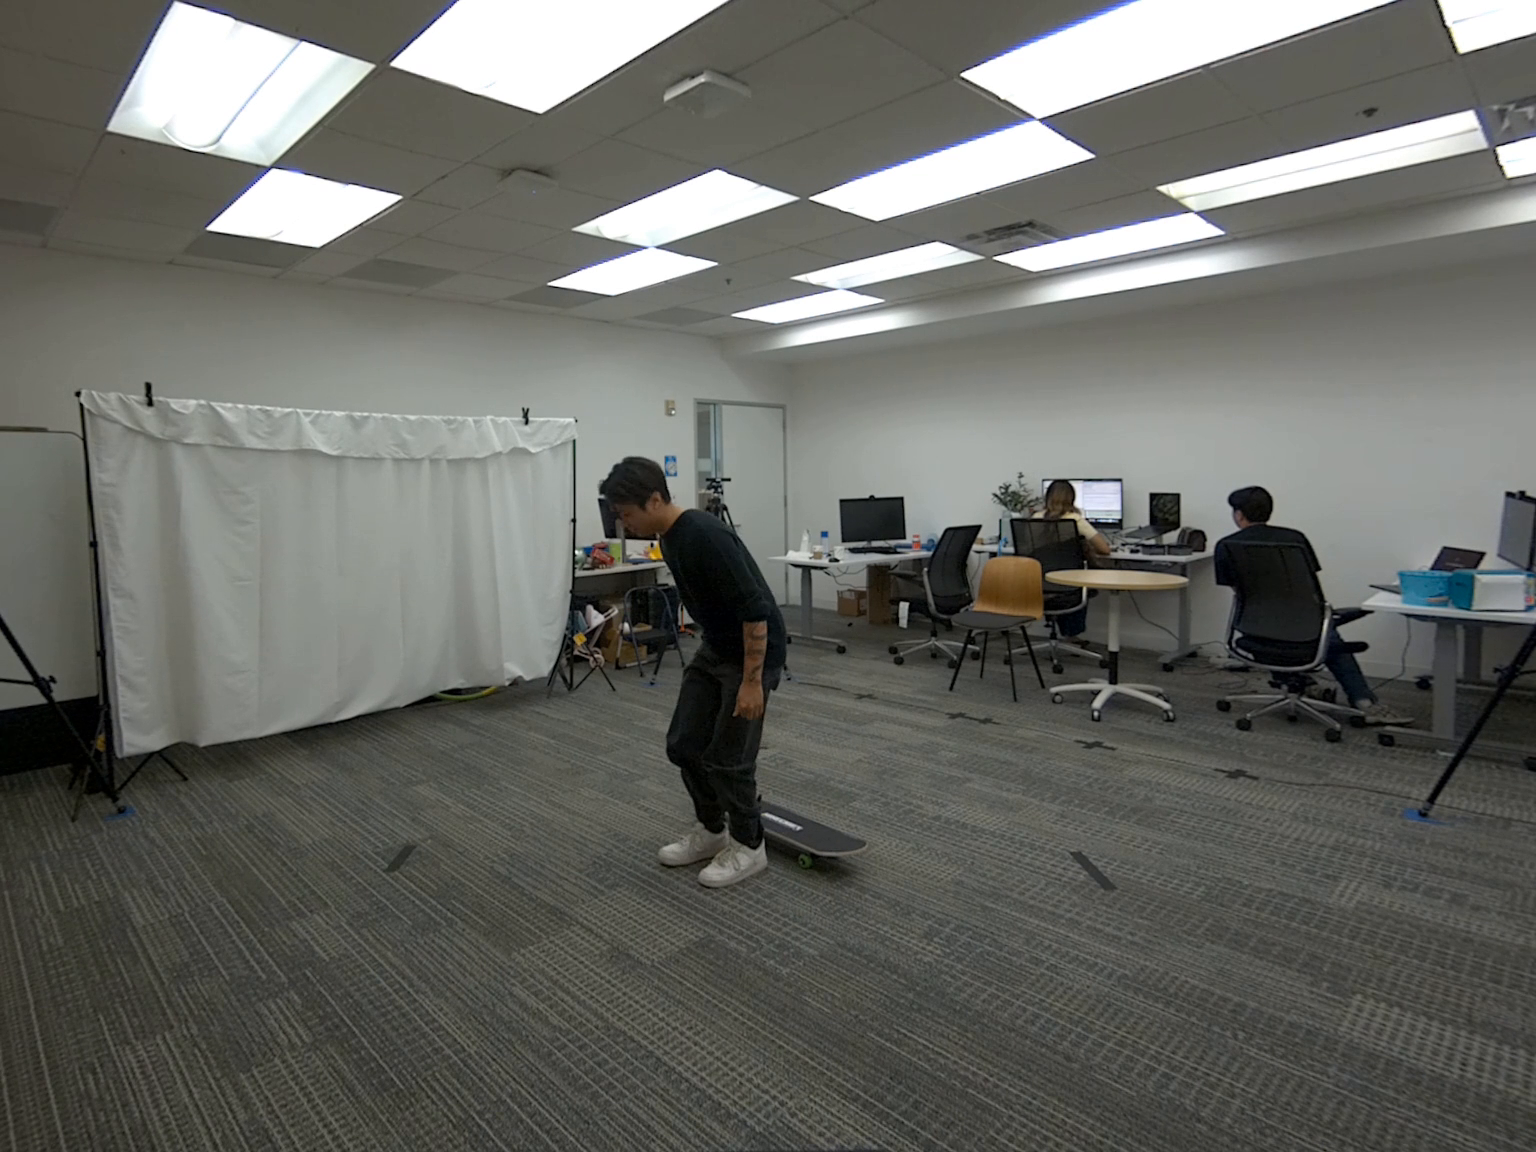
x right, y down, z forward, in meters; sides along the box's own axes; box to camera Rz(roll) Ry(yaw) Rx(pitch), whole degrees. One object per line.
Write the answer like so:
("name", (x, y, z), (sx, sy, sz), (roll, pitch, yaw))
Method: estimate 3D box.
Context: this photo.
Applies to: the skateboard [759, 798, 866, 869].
("skateboard", (0.055, 0.967, 3.253), (0.188, 0.110, 0.810), (-5, 8, -42))
